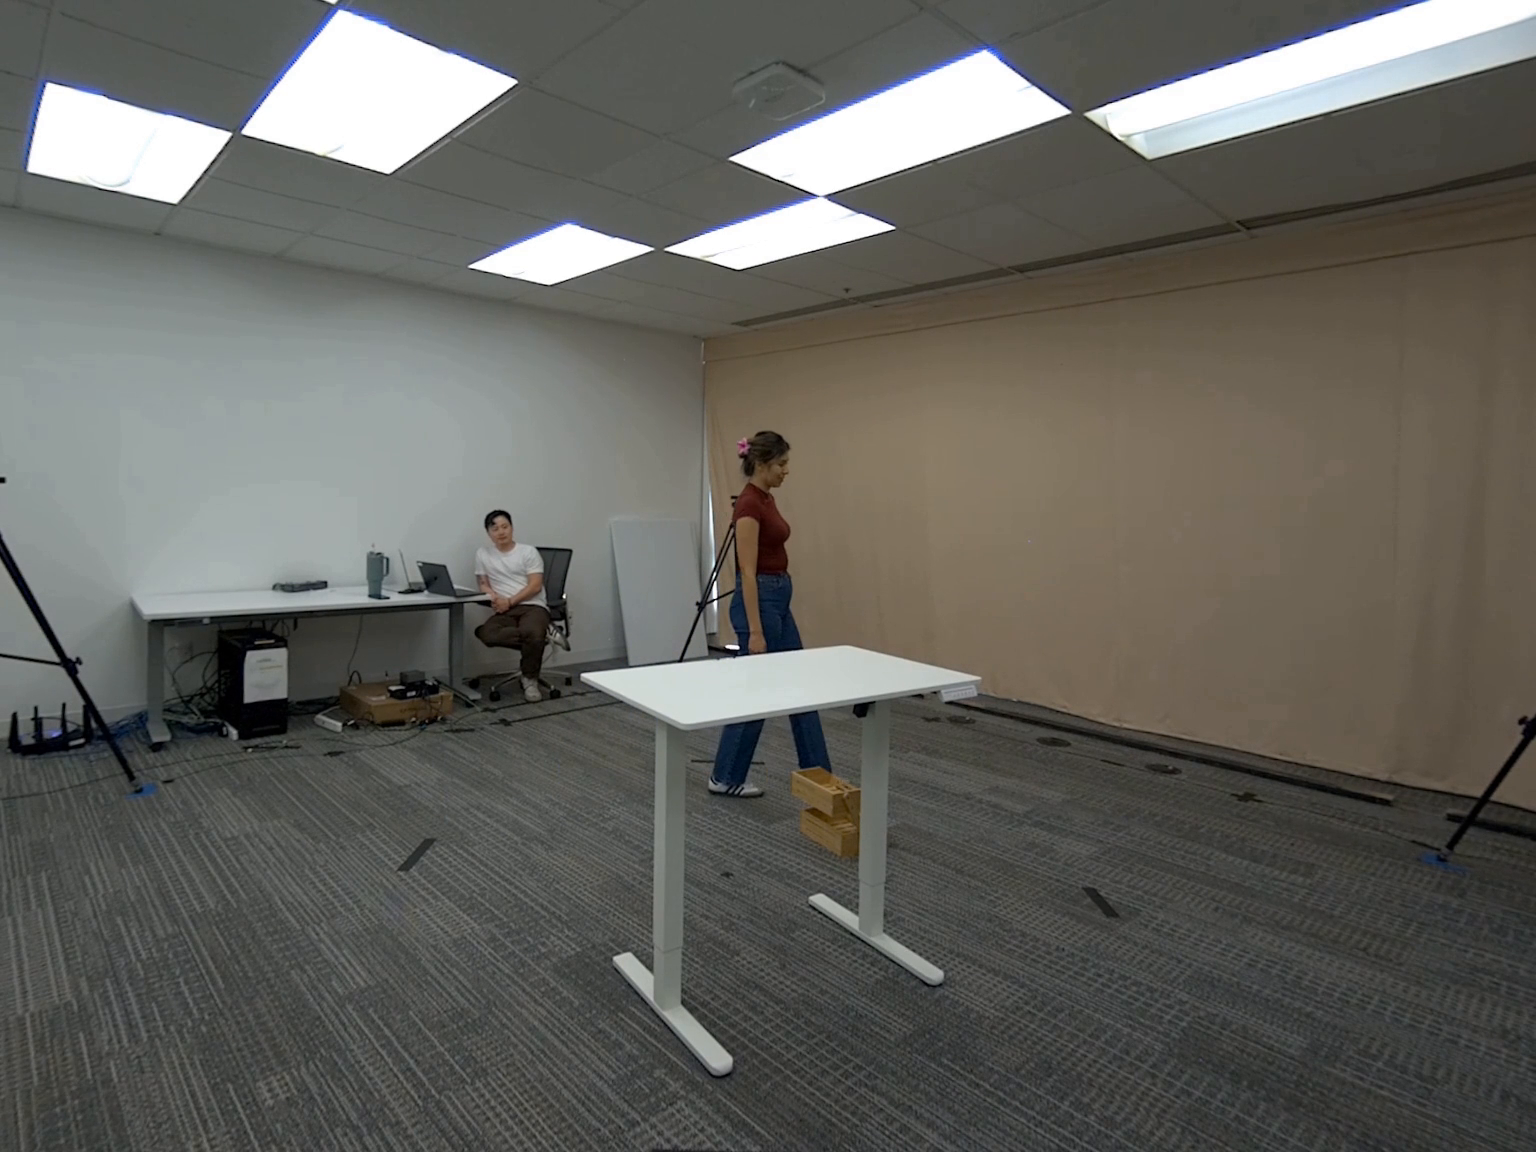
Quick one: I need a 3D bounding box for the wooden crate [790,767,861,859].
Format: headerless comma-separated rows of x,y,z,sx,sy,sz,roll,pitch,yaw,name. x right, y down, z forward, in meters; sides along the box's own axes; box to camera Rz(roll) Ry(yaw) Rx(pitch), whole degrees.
0.290,0.948,3.447,0.296,0.272,0.332,-1,4,-30,wooden crate
